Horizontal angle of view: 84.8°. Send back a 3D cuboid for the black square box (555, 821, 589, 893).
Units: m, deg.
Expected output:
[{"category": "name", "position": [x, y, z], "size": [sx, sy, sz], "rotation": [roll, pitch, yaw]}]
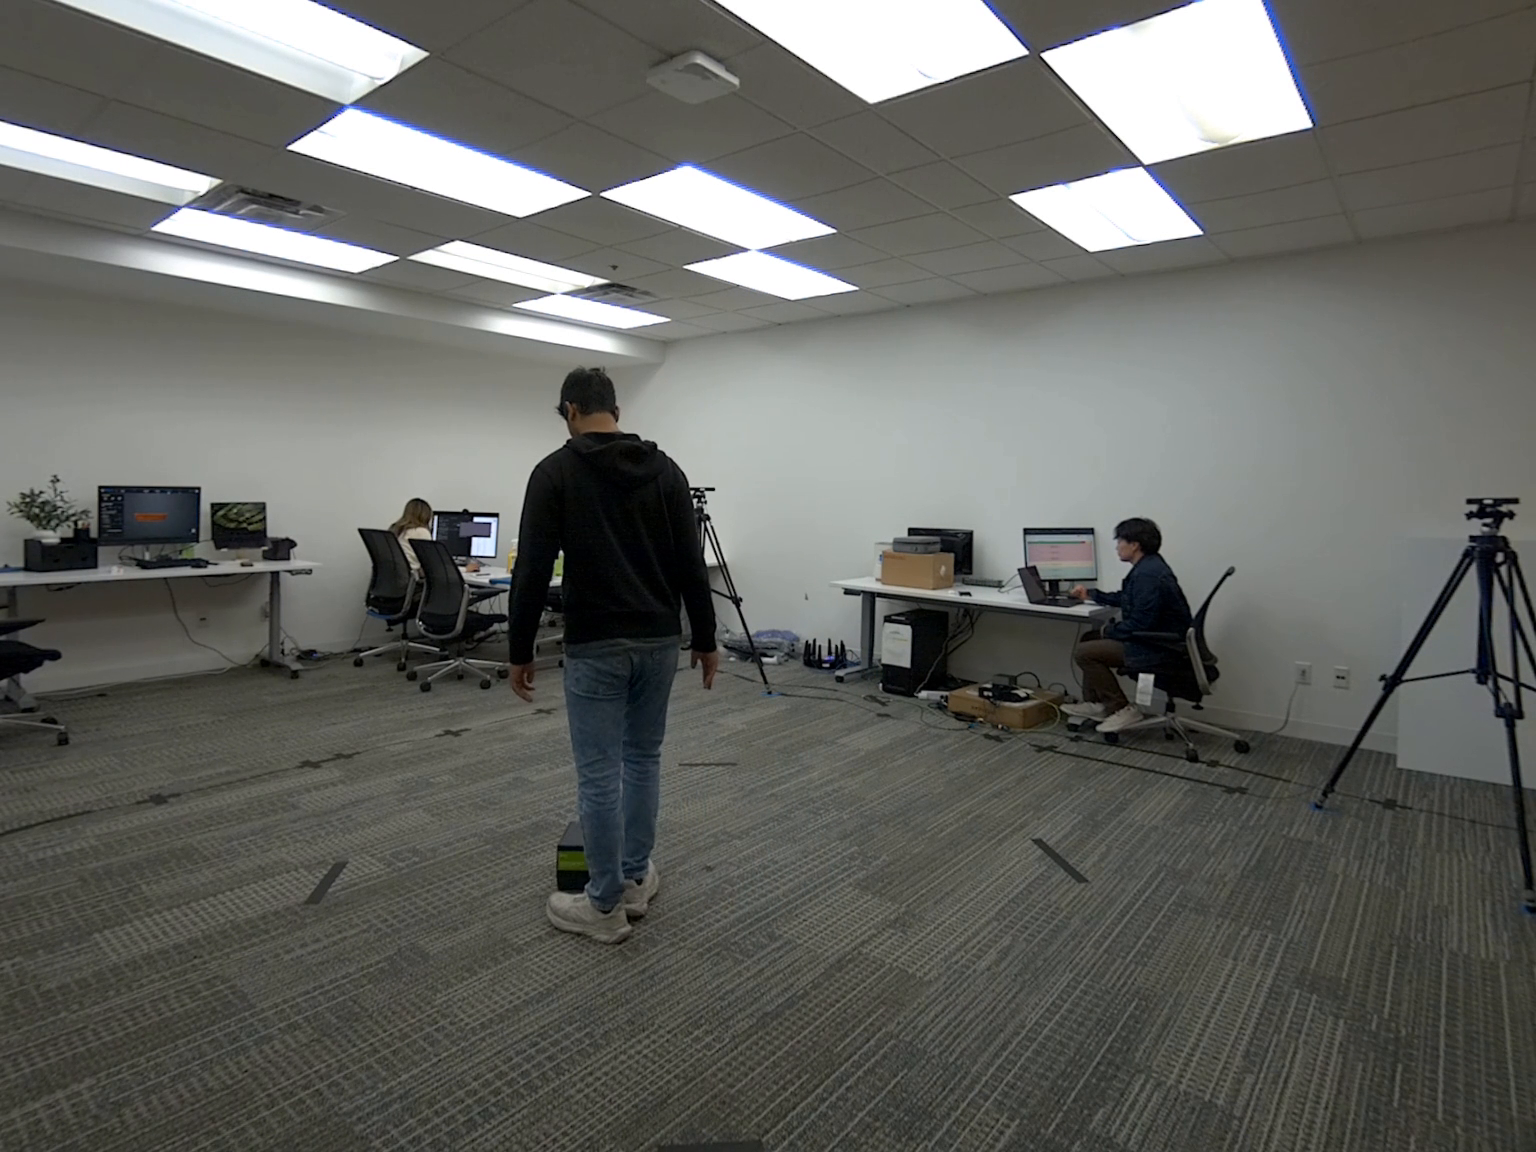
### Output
[{"category": "black square box", "position": [-0.619, 0.979, 3.006], "size": [0.228, 0.155, 0.217], "rotation": [2, 4, 1]}]
